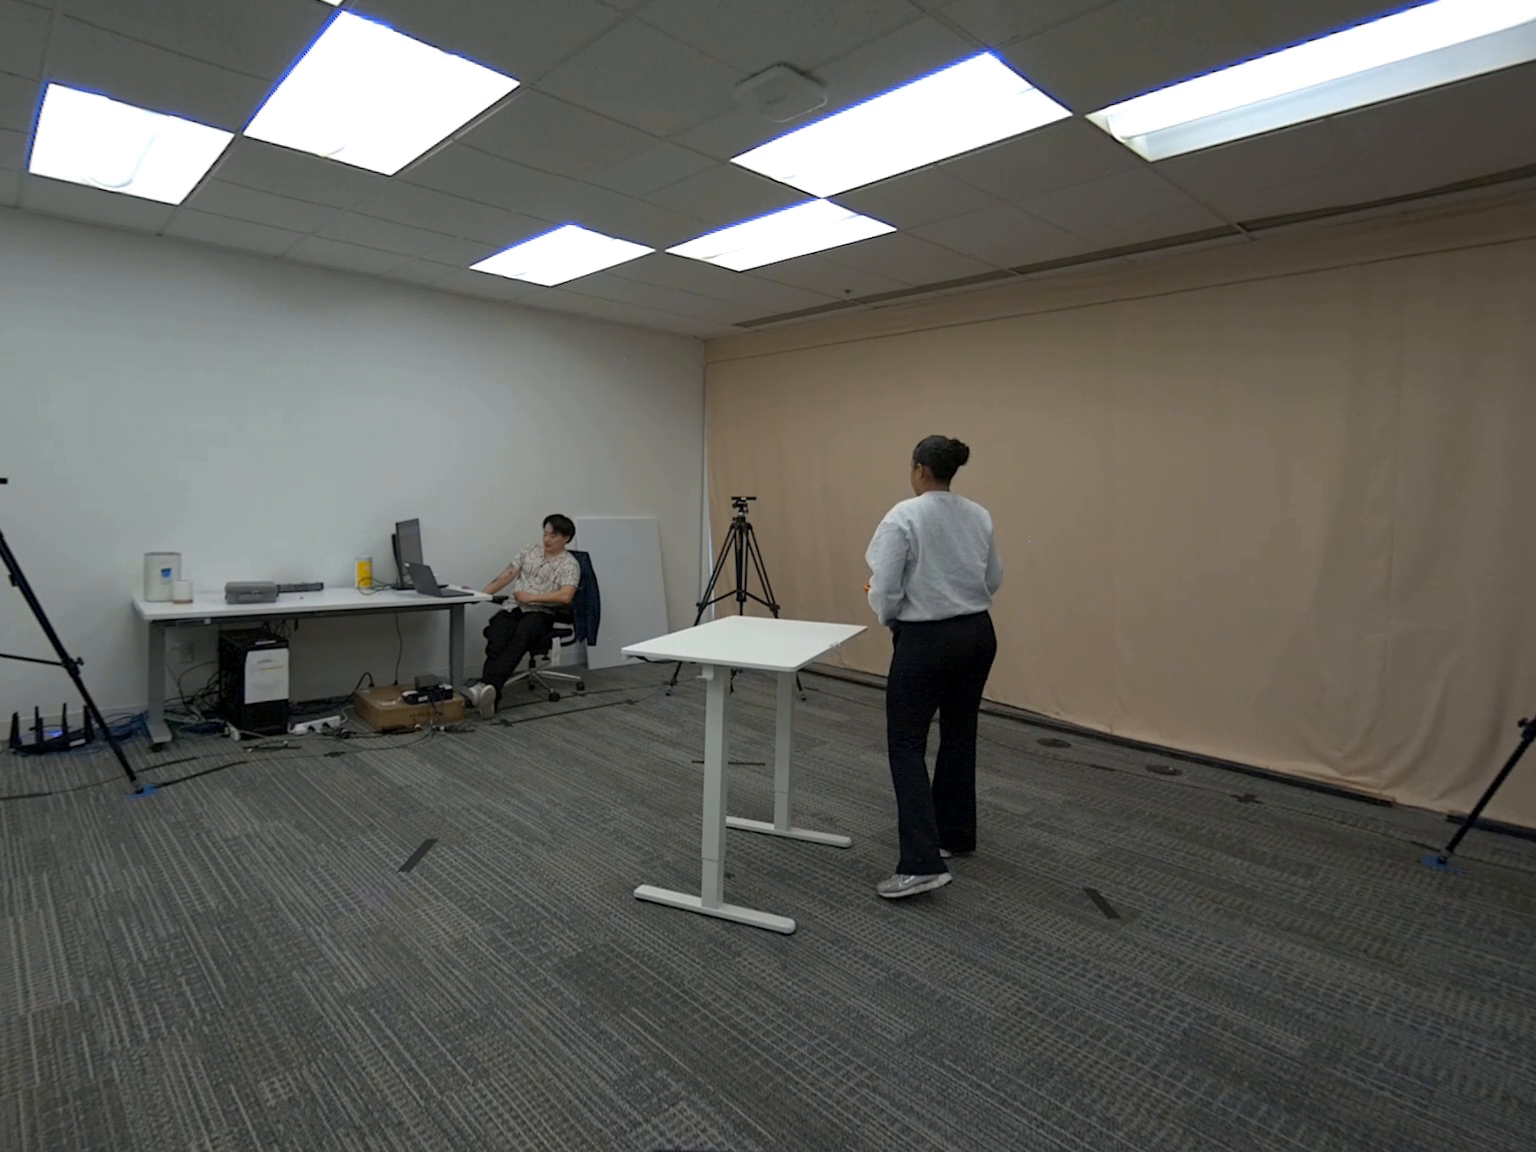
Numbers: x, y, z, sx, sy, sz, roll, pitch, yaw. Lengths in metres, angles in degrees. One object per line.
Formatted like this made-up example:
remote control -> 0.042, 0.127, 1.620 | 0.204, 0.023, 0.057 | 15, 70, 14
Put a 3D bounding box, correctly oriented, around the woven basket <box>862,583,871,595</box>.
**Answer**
woven basket -> 0.591, 0.112, 3.673 | 0.247, 0.073, 0.359 | -1, 8, -30
